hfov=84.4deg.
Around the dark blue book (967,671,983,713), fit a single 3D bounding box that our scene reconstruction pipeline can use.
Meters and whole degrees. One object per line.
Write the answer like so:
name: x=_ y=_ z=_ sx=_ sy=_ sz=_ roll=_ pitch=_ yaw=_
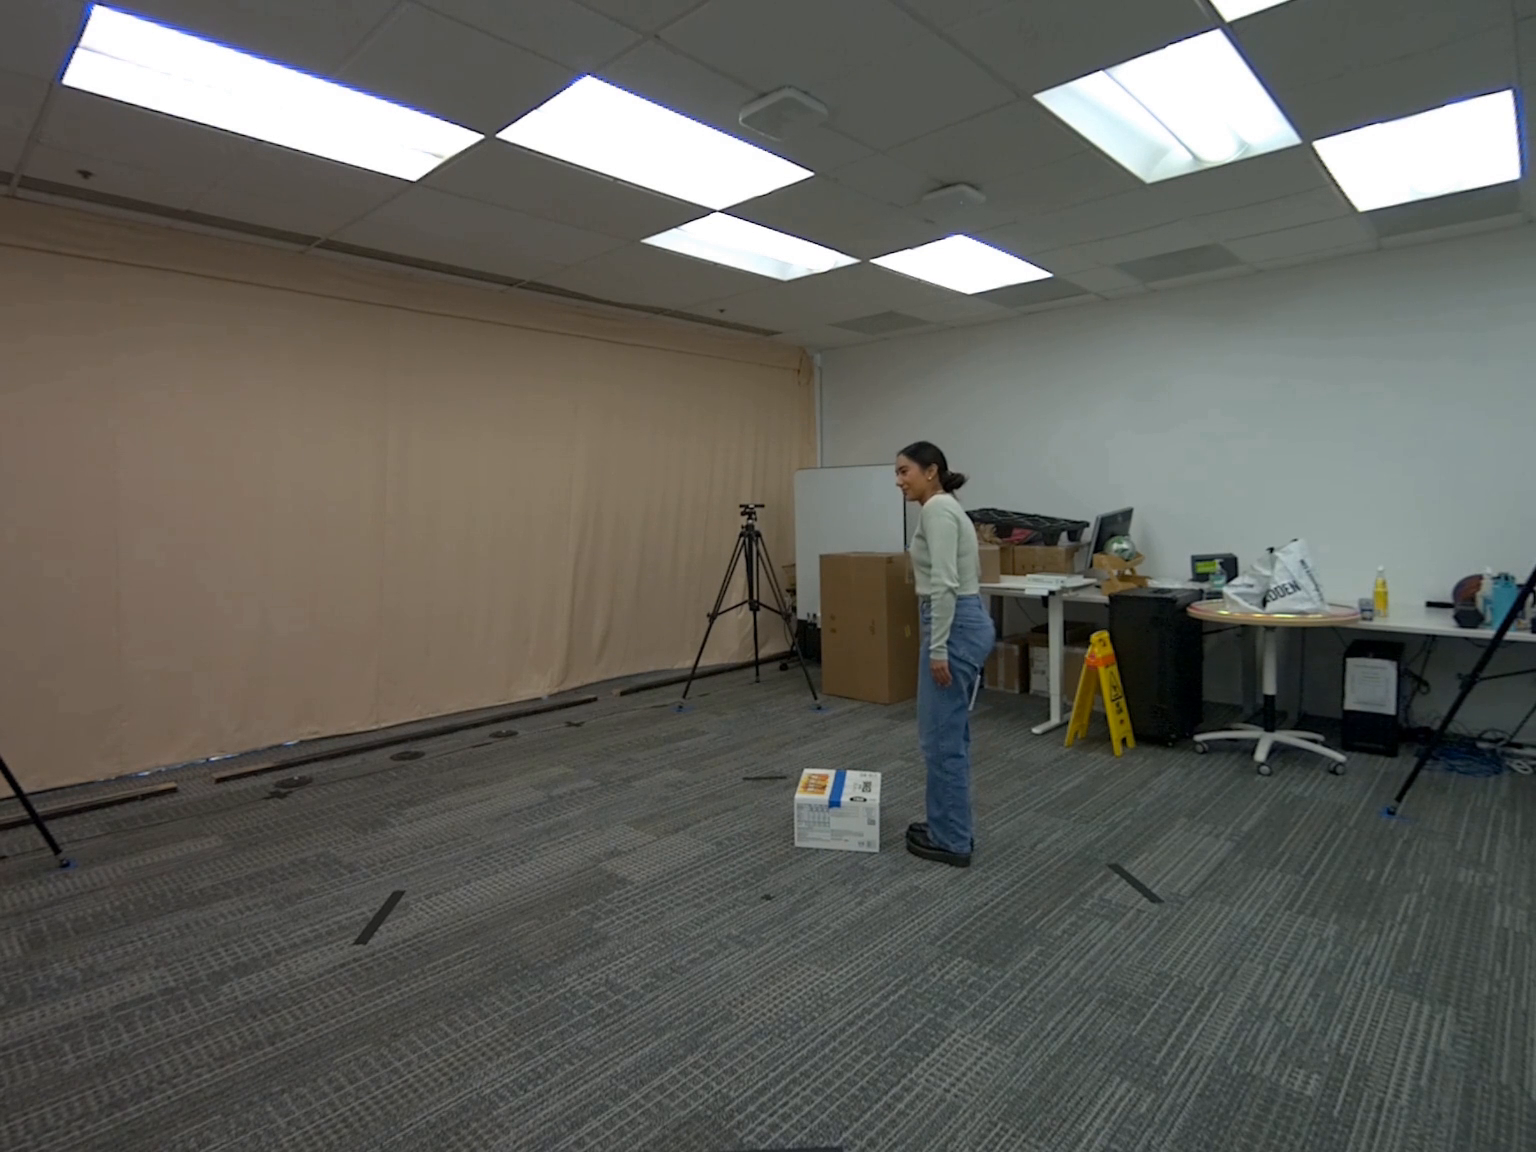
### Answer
dark blue book: x=0.811 y=0.453 z=3.630 sx=0.044 sy=0.162 sz=0.253 roll=1 pitch=17 yaw=-29
